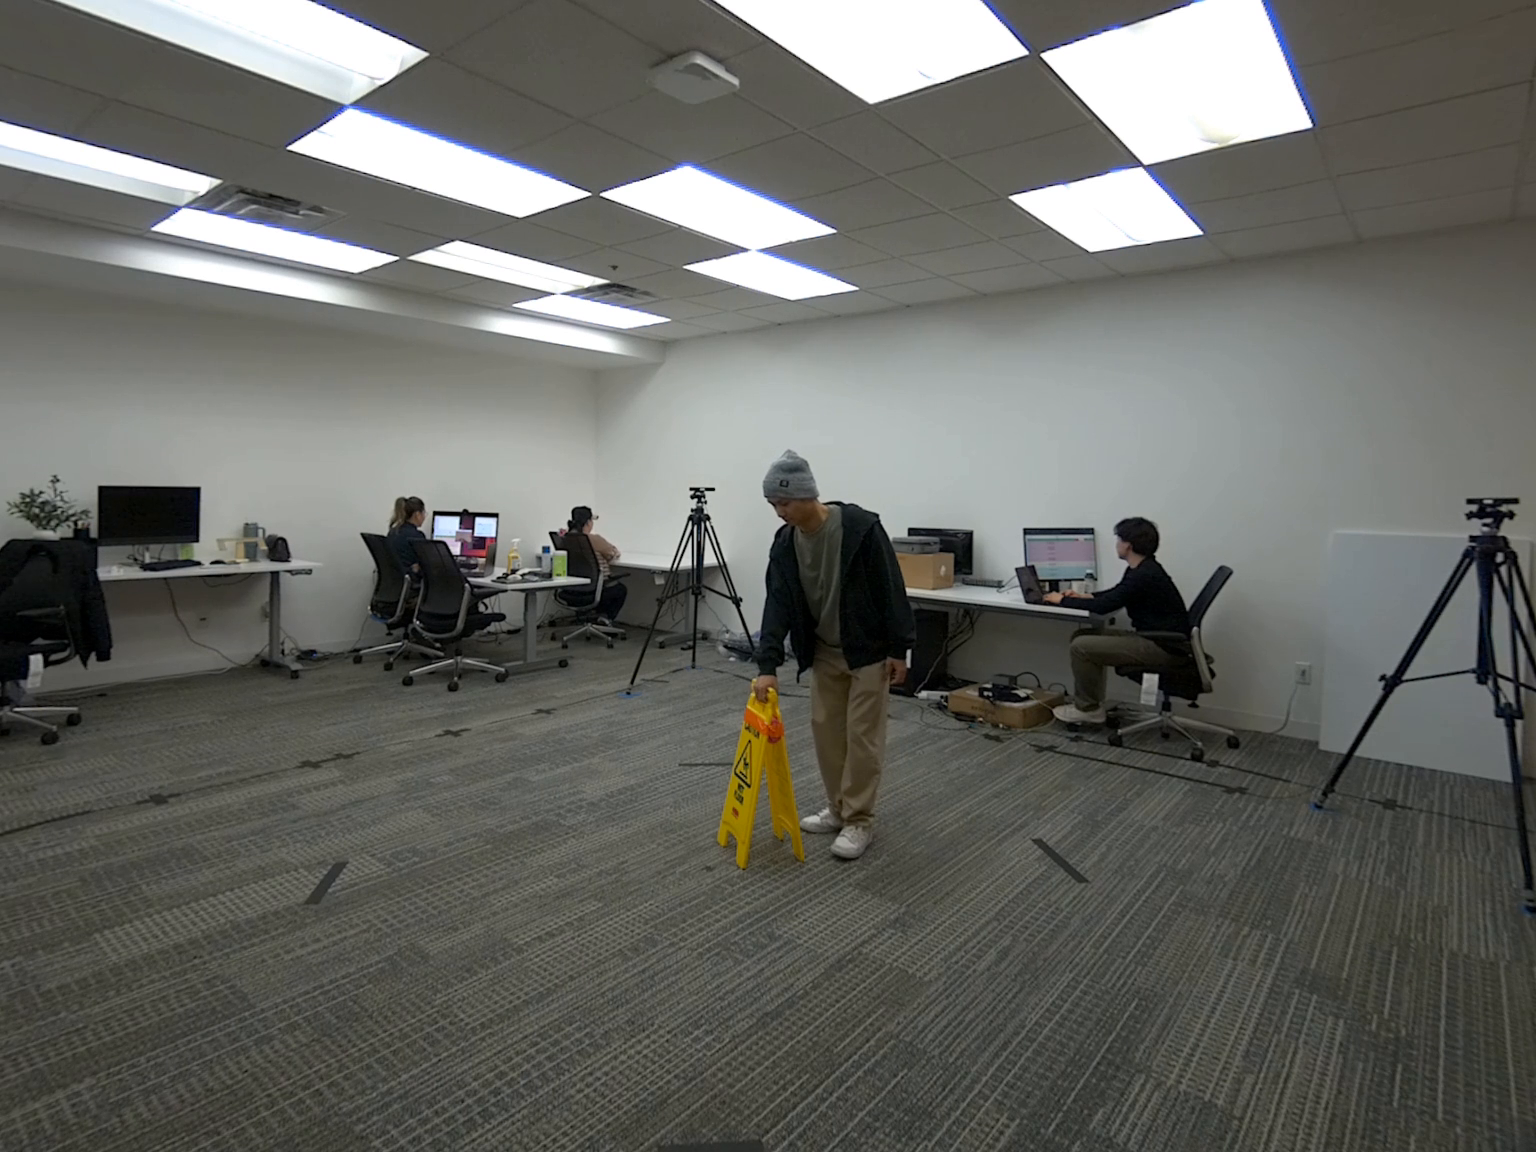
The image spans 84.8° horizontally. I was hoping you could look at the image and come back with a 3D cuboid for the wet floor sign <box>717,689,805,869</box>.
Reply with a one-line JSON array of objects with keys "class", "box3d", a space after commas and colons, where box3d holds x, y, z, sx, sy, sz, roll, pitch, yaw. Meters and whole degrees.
[{"class": "wet floor sign", "box3d": [-0.028, 0.726, 3.257, 0.284, 0.643, 0.289, 0, 5, -20]}]
